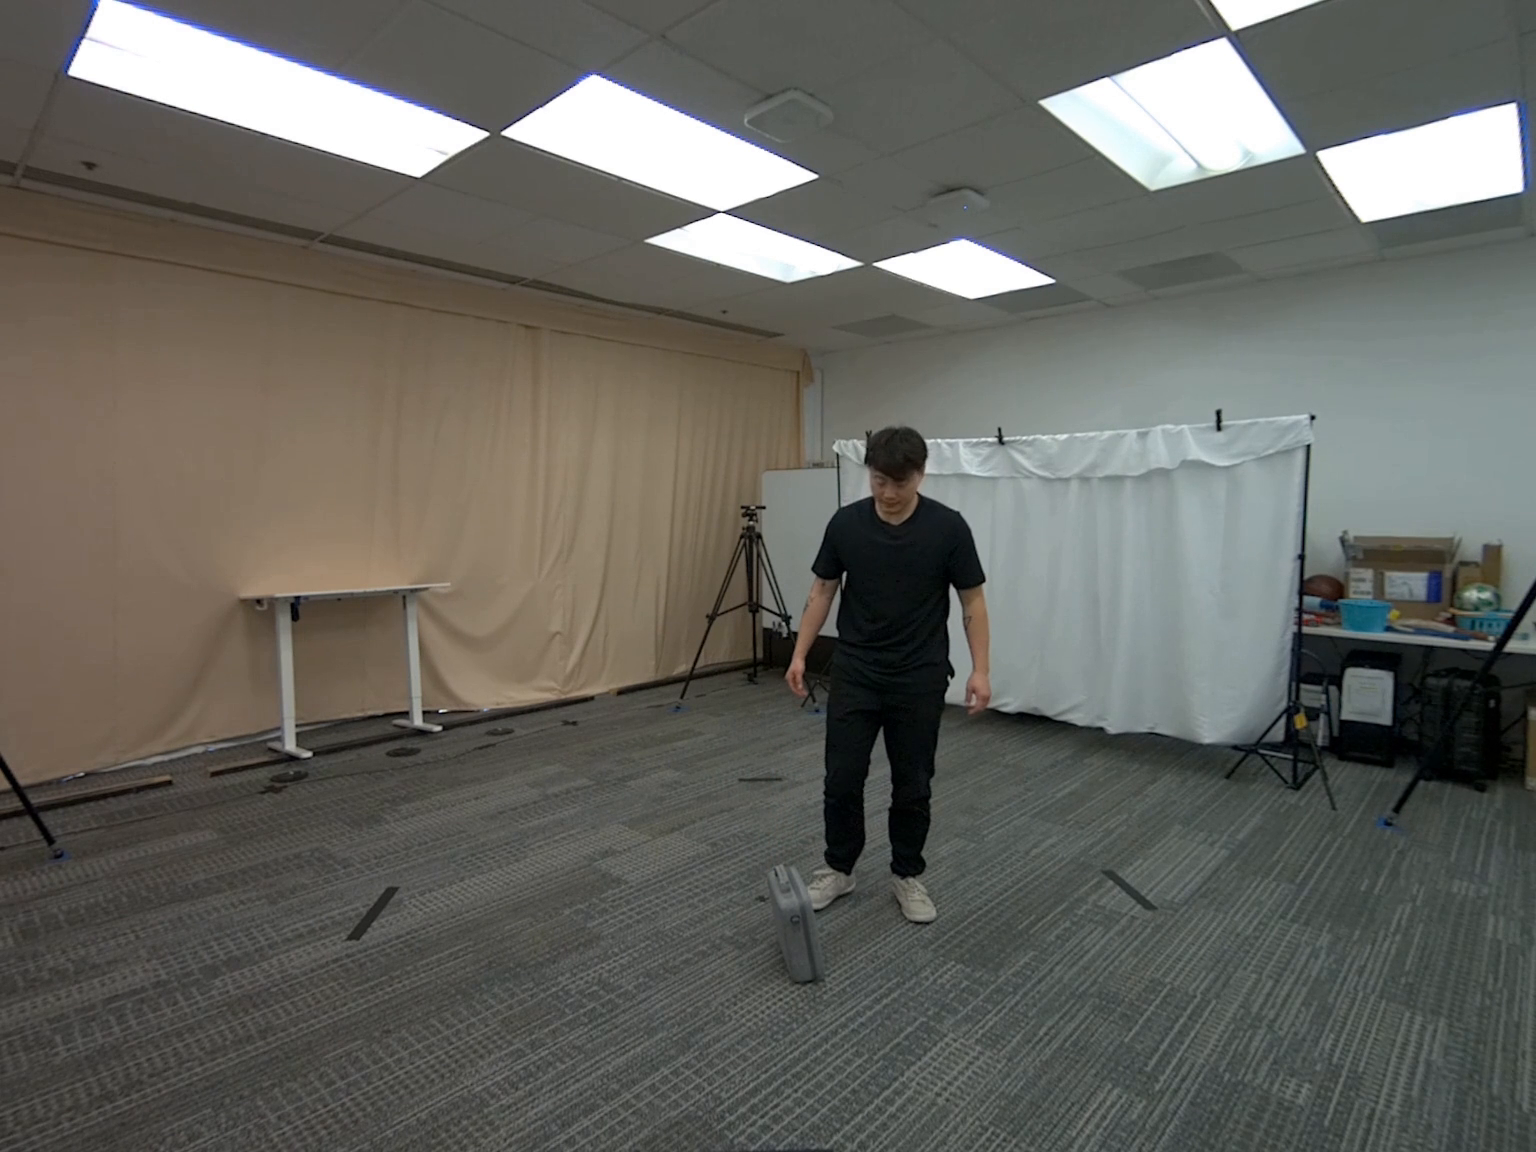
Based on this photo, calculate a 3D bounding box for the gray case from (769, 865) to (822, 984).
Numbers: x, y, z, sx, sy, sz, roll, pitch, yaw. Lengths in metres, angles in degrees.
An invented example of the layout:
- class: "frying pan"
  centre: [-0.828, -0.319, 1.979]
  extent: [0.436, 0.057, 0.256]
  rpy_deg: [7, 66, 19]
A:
- class: "gray case"
  centre: [0.083, 1.046, 2.551]
  extent: [0.103, 0.260, 0.259]
  rpy_deg: [-8, 4, -8]
